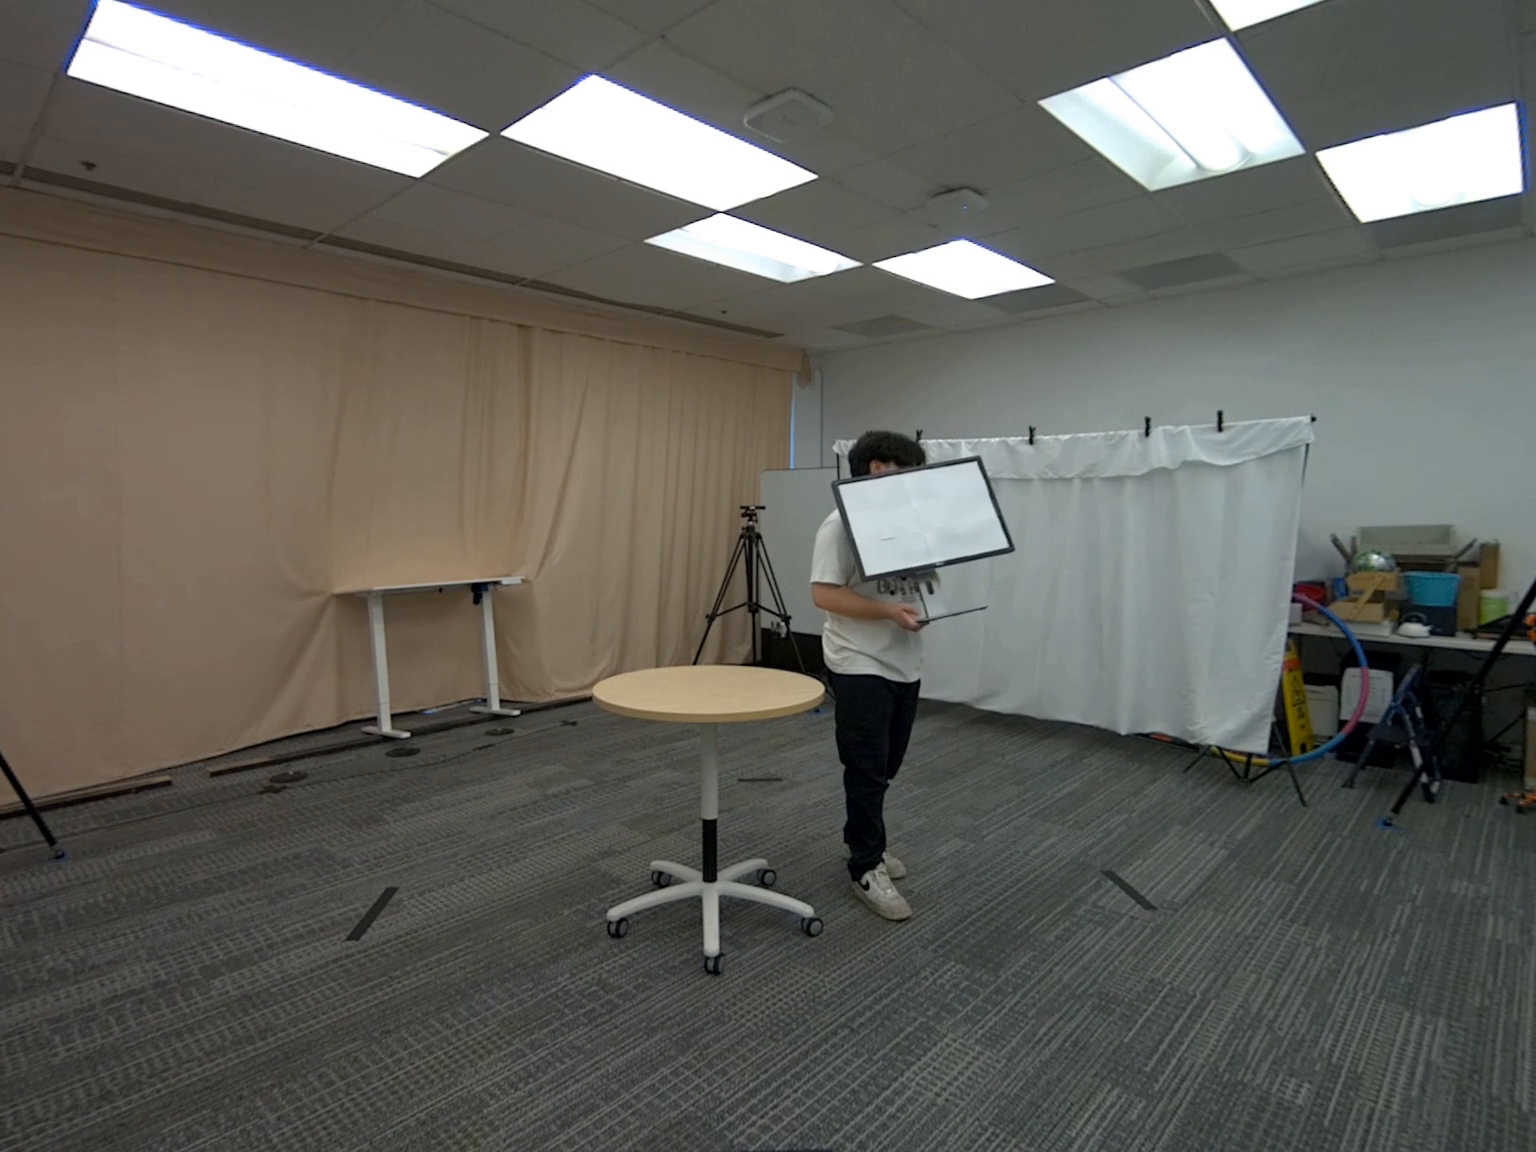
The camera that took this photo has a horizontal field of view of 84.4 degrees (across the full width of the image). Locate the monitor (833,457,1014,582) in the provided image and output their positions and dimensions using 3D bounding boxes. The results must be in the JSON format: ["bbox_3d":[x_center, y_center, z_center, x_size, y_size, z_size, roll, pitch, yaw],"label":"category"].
[{"bbox_3d":[0.523,-0.101,2.905,0.558,0.560,0.210,-12,-12,-13],"label":"monitor"}]
